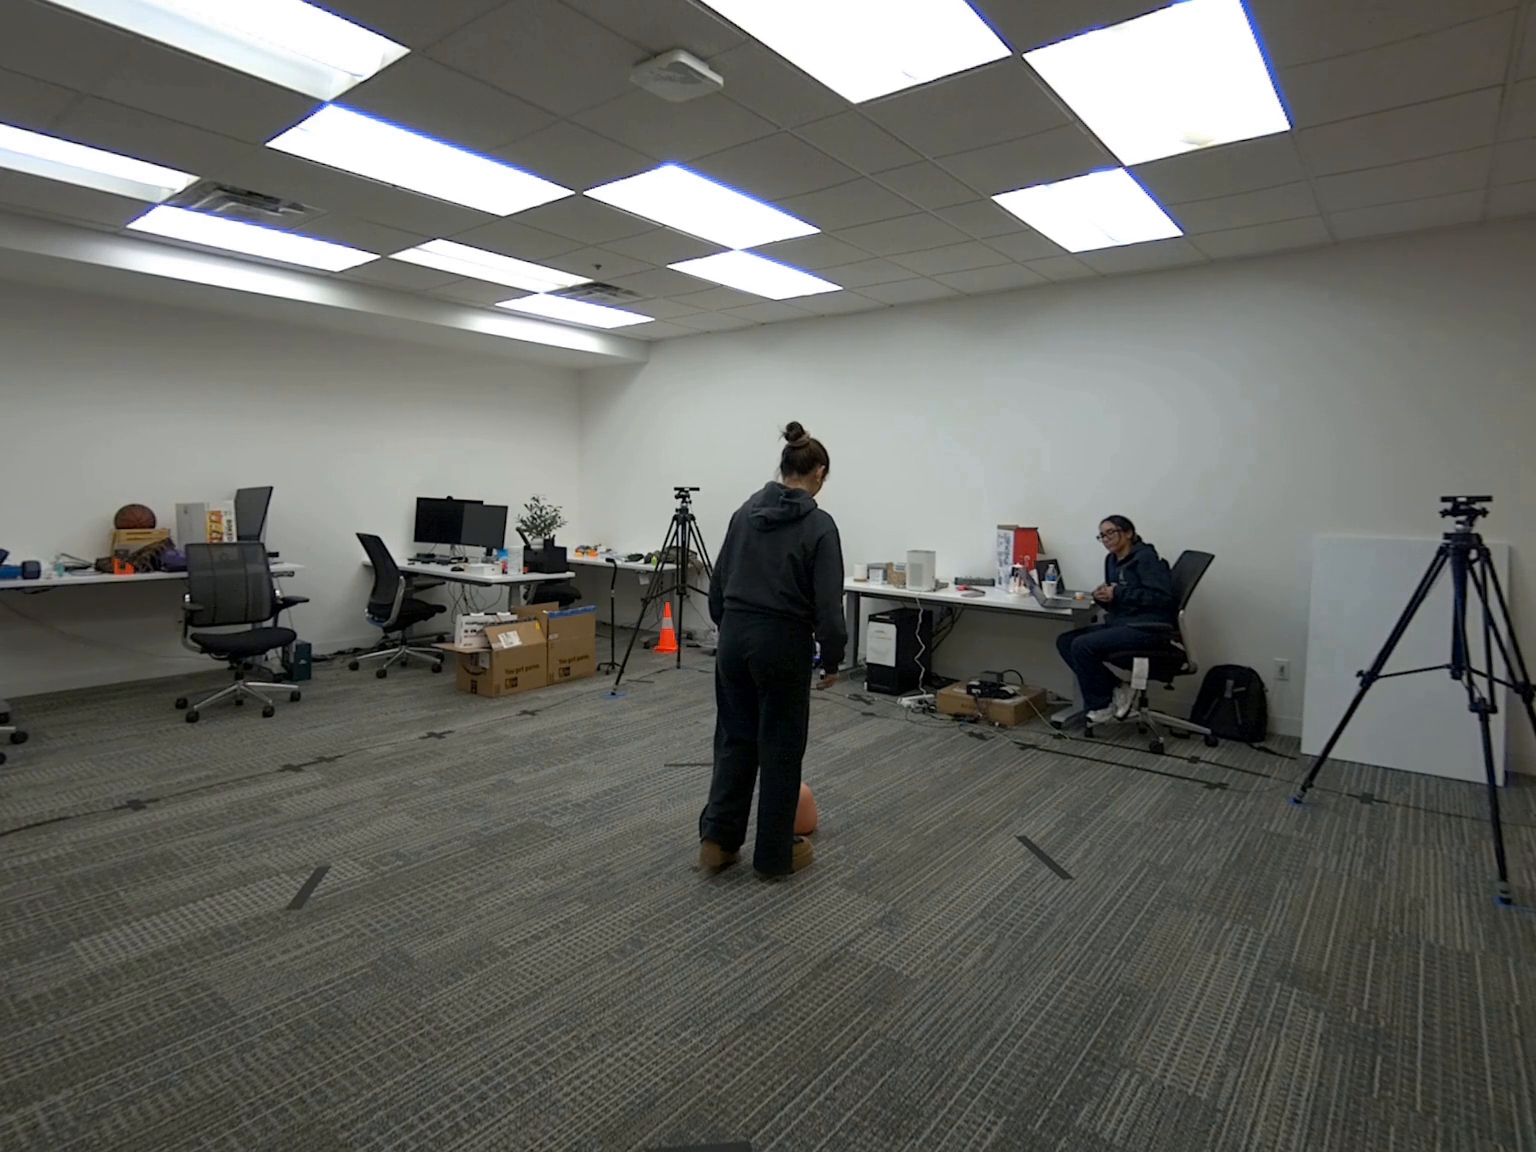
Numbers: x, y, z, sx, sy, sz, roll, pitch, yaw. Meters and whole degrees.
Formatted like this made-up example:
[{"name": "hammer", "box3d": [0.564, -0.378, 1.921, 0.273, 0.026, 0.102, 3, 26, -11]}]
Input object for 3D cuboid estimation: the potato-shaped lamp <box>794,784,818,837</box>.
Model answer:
[{"name": "potato-shaped lamp", "box3d": [0.121, 0.935, 3.471, 0.170, 0.197, 0.167, 6, 7, 34]}]
